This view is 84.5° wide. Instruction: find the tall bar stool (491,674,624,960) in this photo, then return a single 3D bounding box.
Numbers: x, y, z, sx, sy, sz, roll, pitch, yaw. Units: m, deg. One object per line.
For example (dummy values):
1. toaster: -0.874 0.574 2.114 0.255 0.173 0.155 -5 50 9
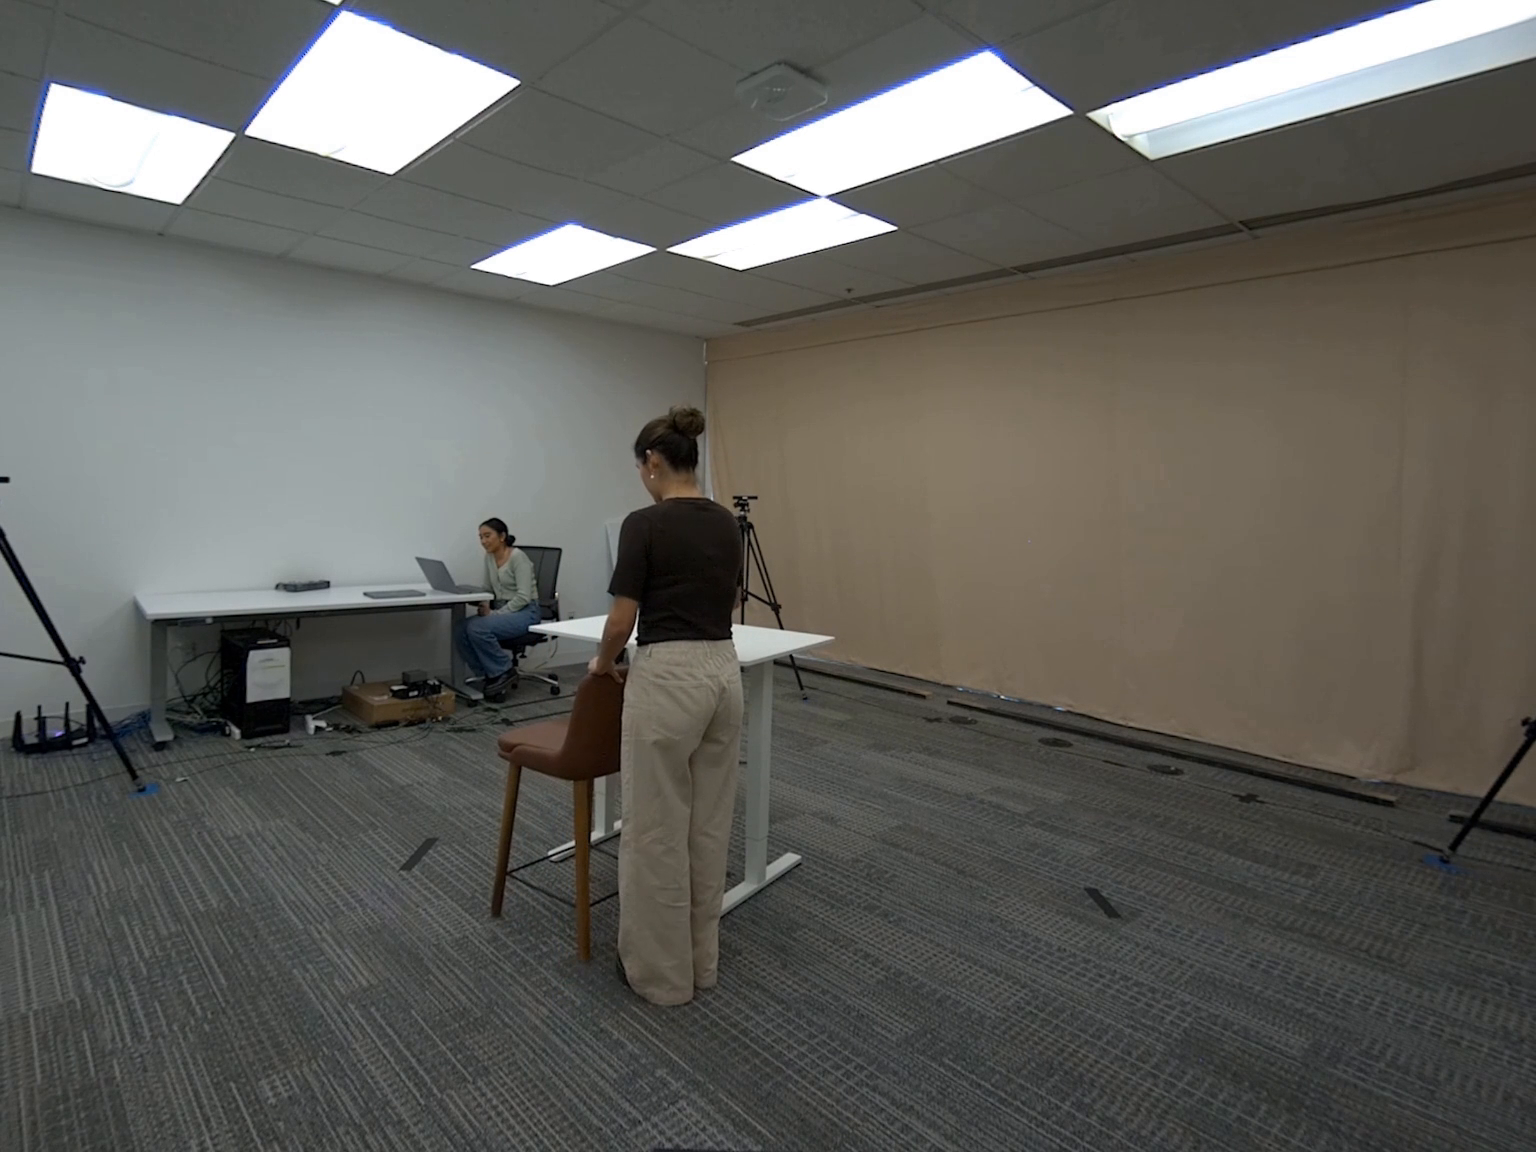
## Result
1. tall bar stool: -0.597 0.691 2.742 0.479 0.886 0.446 7 6 38
